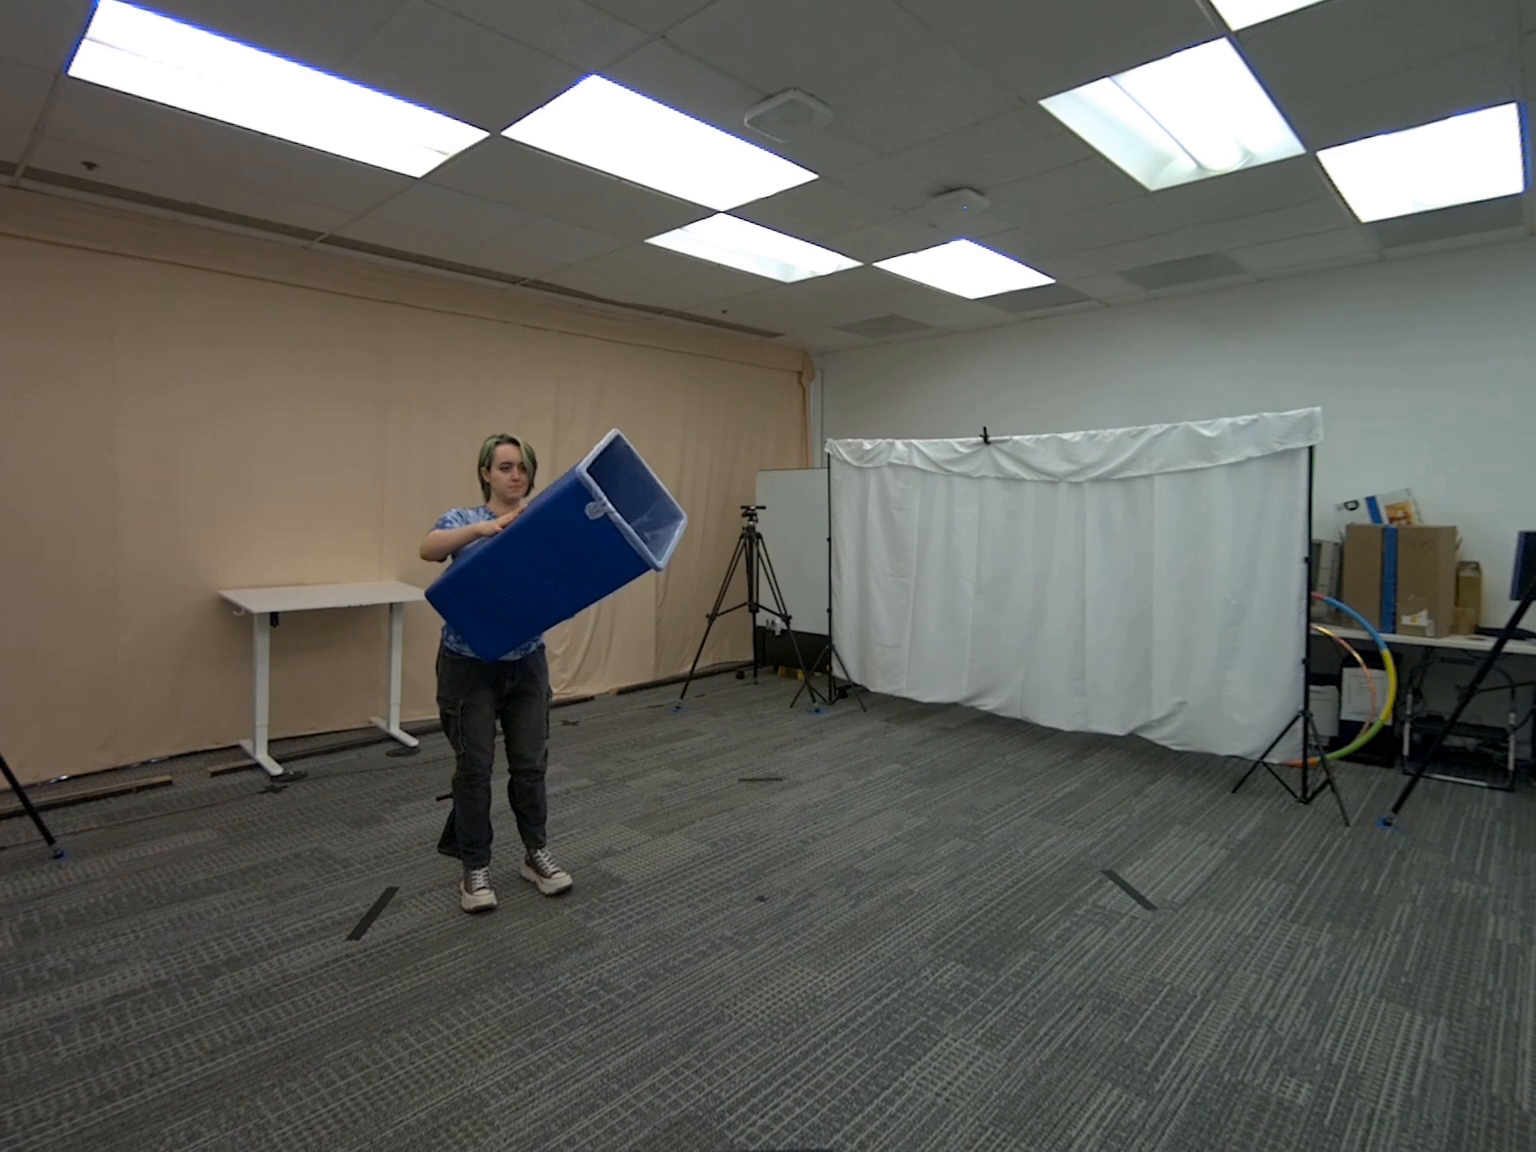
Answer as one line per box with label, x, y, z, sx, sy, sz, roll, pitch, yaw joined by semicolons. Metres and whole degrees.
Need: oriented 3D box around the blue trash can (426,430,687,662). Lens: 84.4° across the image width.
blue trash can;-0.651;-0.071;2.585;0.723;0.372;0.376;-31;17;24
